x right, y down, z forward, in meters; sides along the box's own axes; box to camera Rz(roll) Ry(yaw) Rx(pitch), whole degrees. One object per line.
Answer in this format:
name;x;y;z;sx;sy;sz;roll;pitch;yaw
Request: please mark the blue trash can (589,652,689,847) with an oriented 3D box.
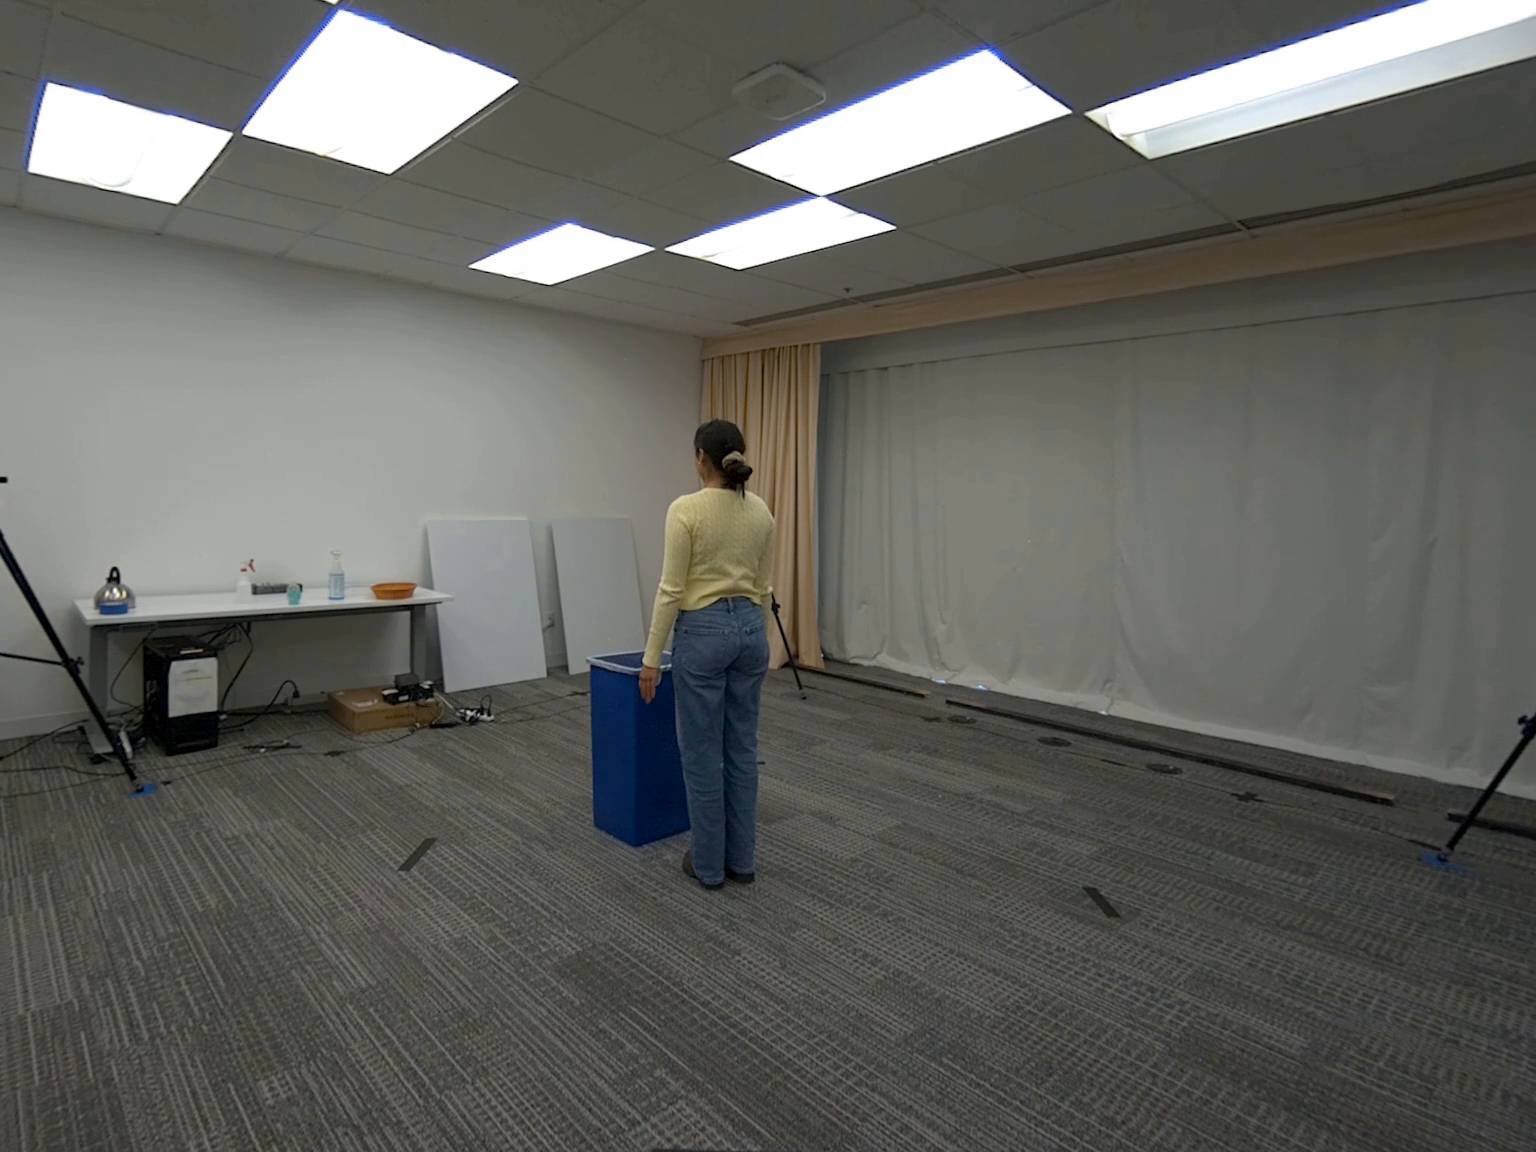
blue trash can;-0.533;0.699;3.519;0.369;0.712;0.384;-1;5;-45
